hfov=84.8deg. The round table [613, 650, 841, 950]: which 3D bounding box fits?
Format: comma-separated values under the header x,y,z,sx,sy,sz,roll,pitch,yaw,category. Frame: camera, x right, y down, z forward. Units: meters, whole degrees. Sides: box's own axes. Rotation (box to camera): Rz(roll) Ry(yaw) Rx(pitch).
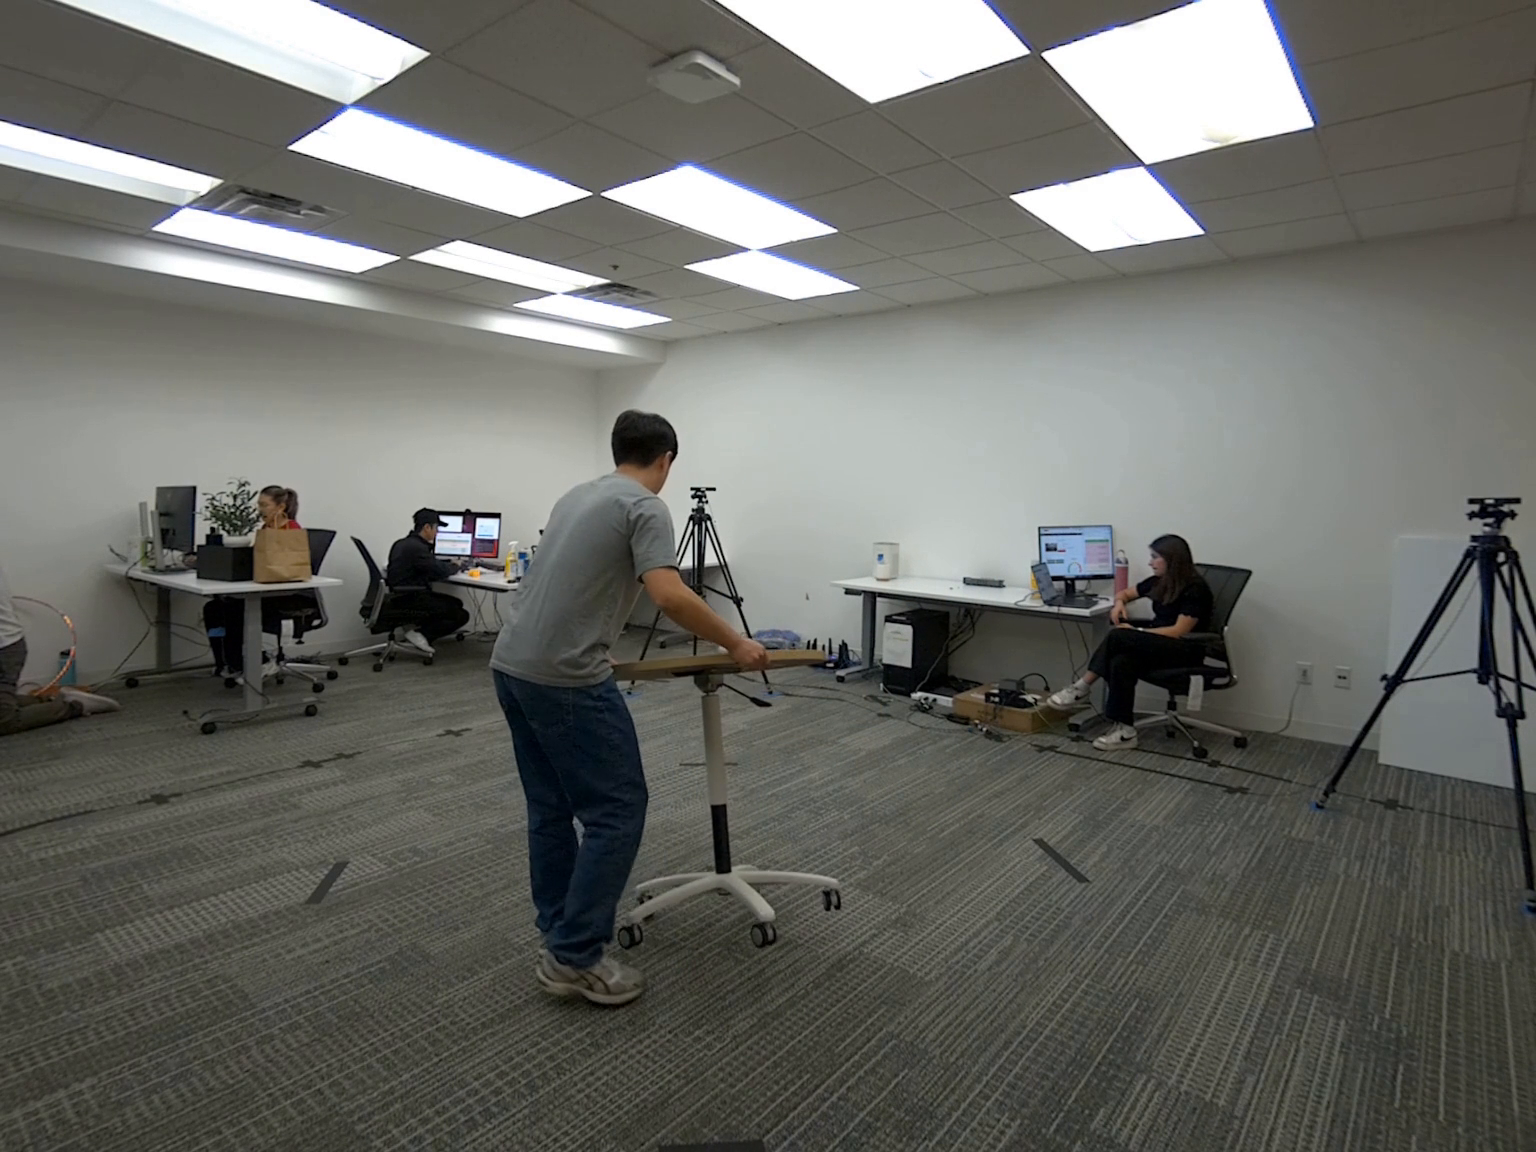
x,y,z,sx,sy,sz,roll,pitch,yaw,category
-0.162,0.667,2.667,0.763,0.803,0.757,-5,-10,-3,round table
